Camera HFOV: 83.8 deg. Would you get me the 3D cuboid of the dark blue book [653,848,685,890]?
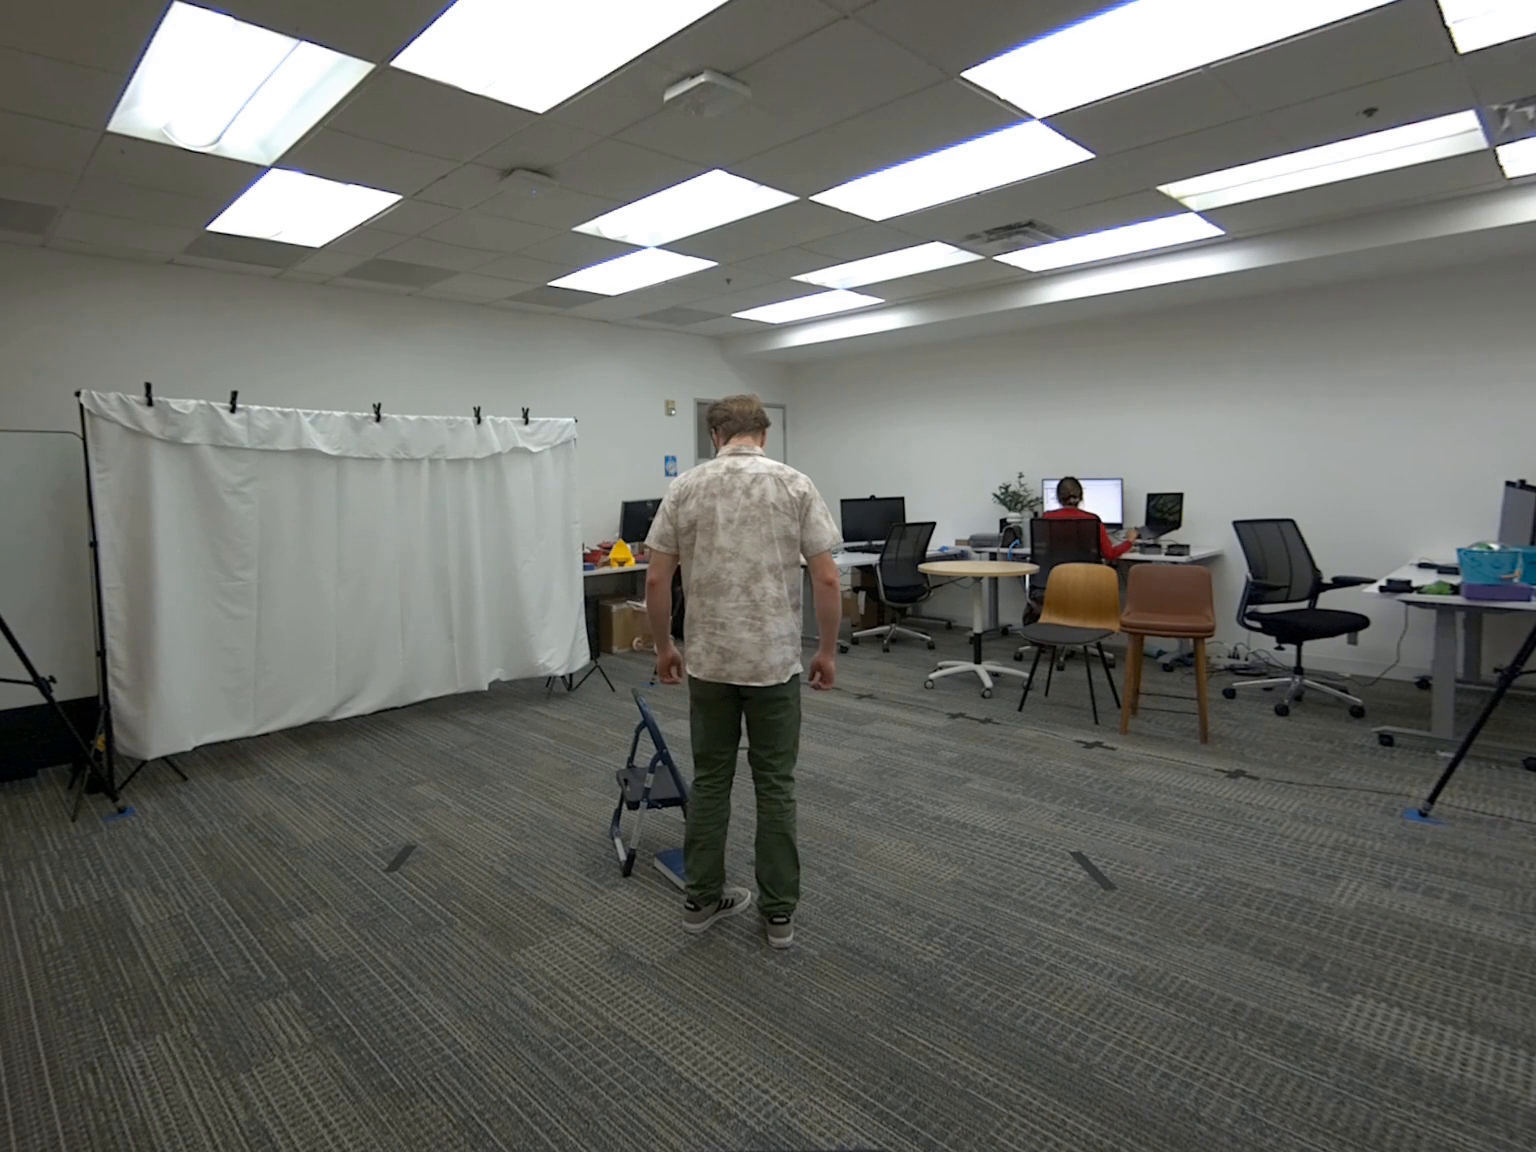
[{"bbox_3d":[-0.276,1.039,3.016,0.159,0.045,0.252,-5,8,-33],"label":"dark blue book"}]
